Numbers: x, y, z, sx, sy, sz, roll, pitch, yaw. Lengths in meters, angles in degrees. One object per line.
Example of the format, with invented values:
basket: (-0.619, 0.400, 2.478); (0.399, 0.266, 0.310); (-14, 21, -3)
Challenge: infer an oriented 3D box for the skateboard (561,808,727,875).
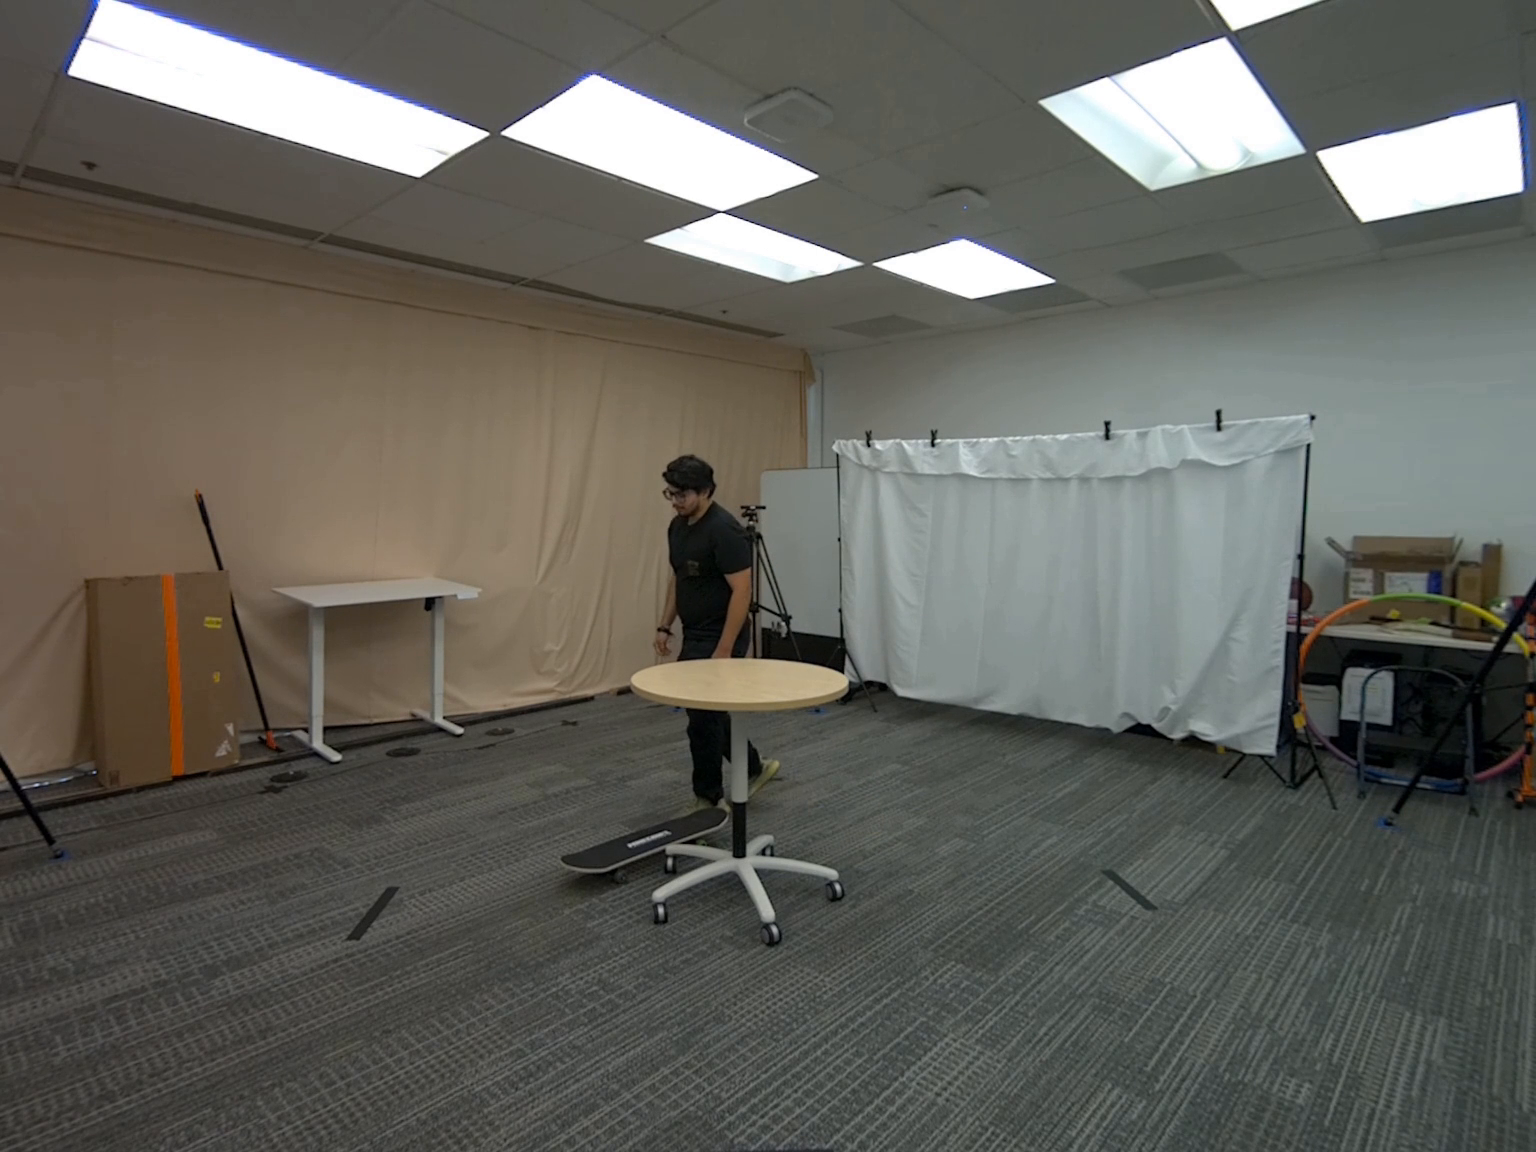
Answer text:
skateboard: (-0.466, 1.066, 3.305); (0.761, 0.110, 0.200); (-5, 6, -44)
